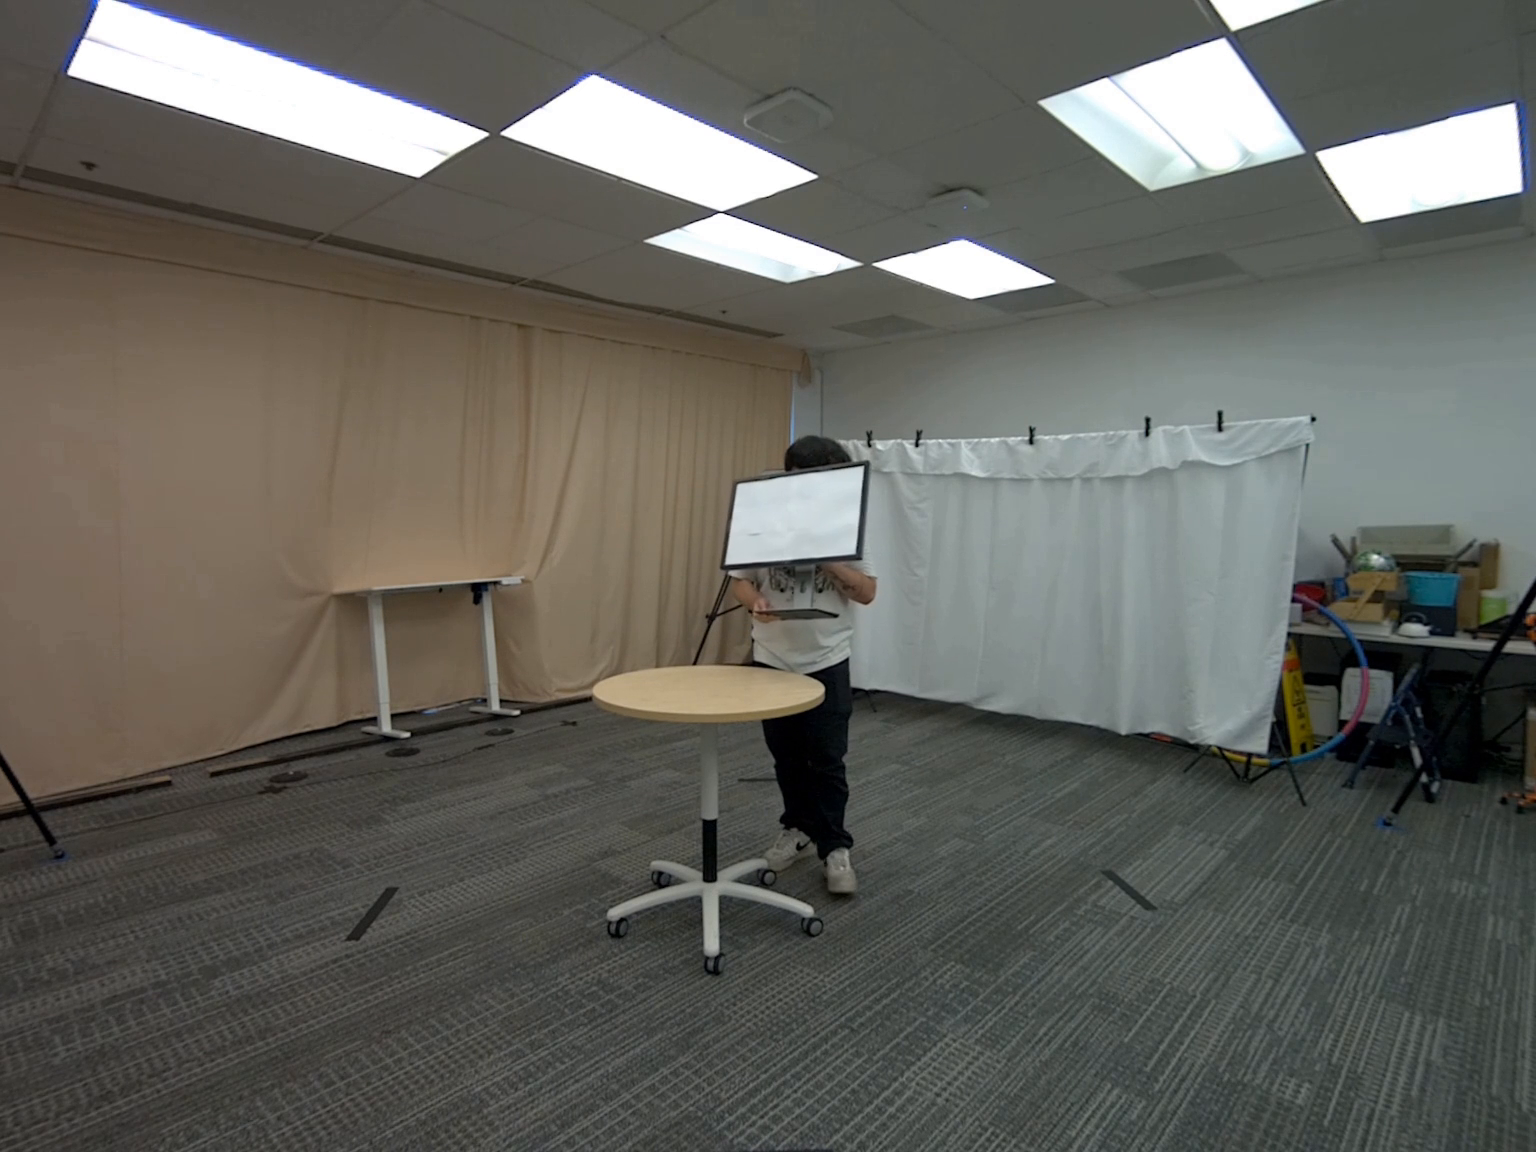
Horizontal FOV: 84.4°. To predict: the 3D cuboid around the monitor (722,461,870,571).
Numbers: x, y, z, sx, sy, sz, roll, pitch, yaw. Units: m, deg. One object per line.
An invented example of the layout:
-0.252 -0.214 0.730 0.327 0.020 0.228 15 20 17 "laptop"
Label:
0.126 -0.104 3.017 0.581 0.558 0.203 -5 -18 33 "monitor"
